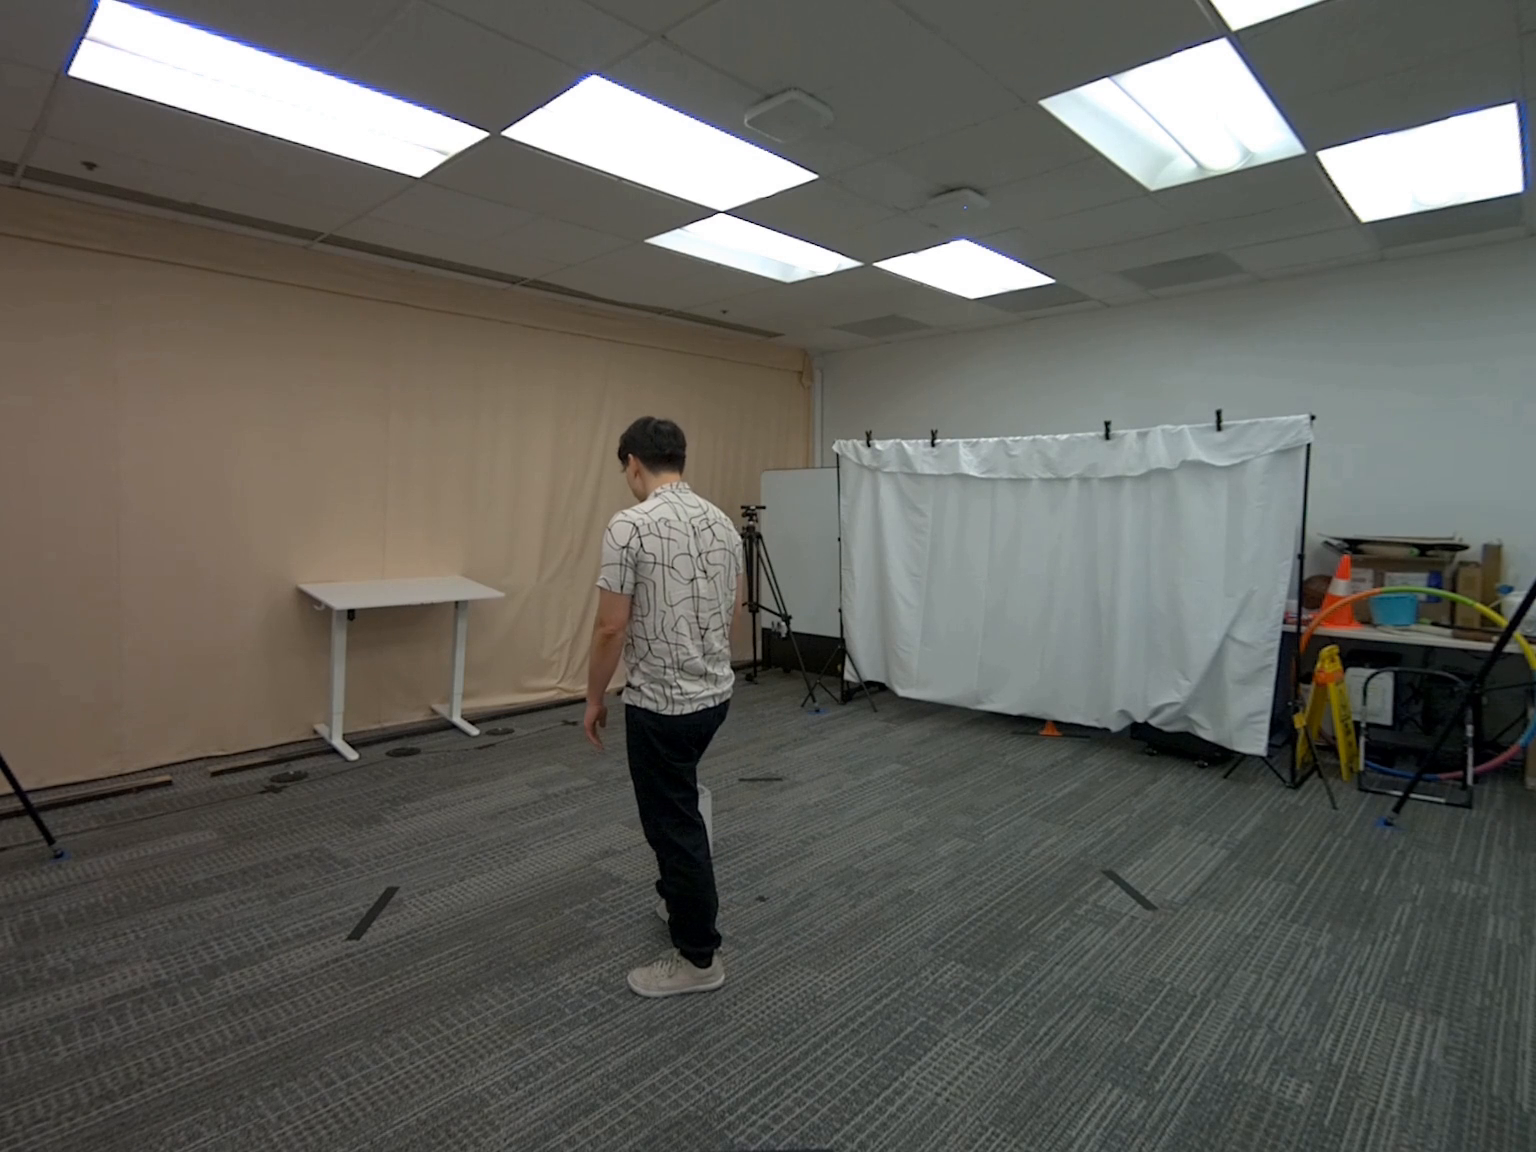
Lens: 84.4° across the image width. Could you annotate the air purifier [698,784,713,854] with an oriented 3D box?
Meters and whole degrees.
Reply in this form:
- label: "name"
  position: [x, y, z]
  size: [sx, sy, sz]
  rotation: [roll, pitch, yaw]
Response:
- label: "air purifier"
  position: [-0.321, 0.981, 3.330]
  size: [0.167, 0.265, 0.176]
  rotation: [-3, 4, -28]
